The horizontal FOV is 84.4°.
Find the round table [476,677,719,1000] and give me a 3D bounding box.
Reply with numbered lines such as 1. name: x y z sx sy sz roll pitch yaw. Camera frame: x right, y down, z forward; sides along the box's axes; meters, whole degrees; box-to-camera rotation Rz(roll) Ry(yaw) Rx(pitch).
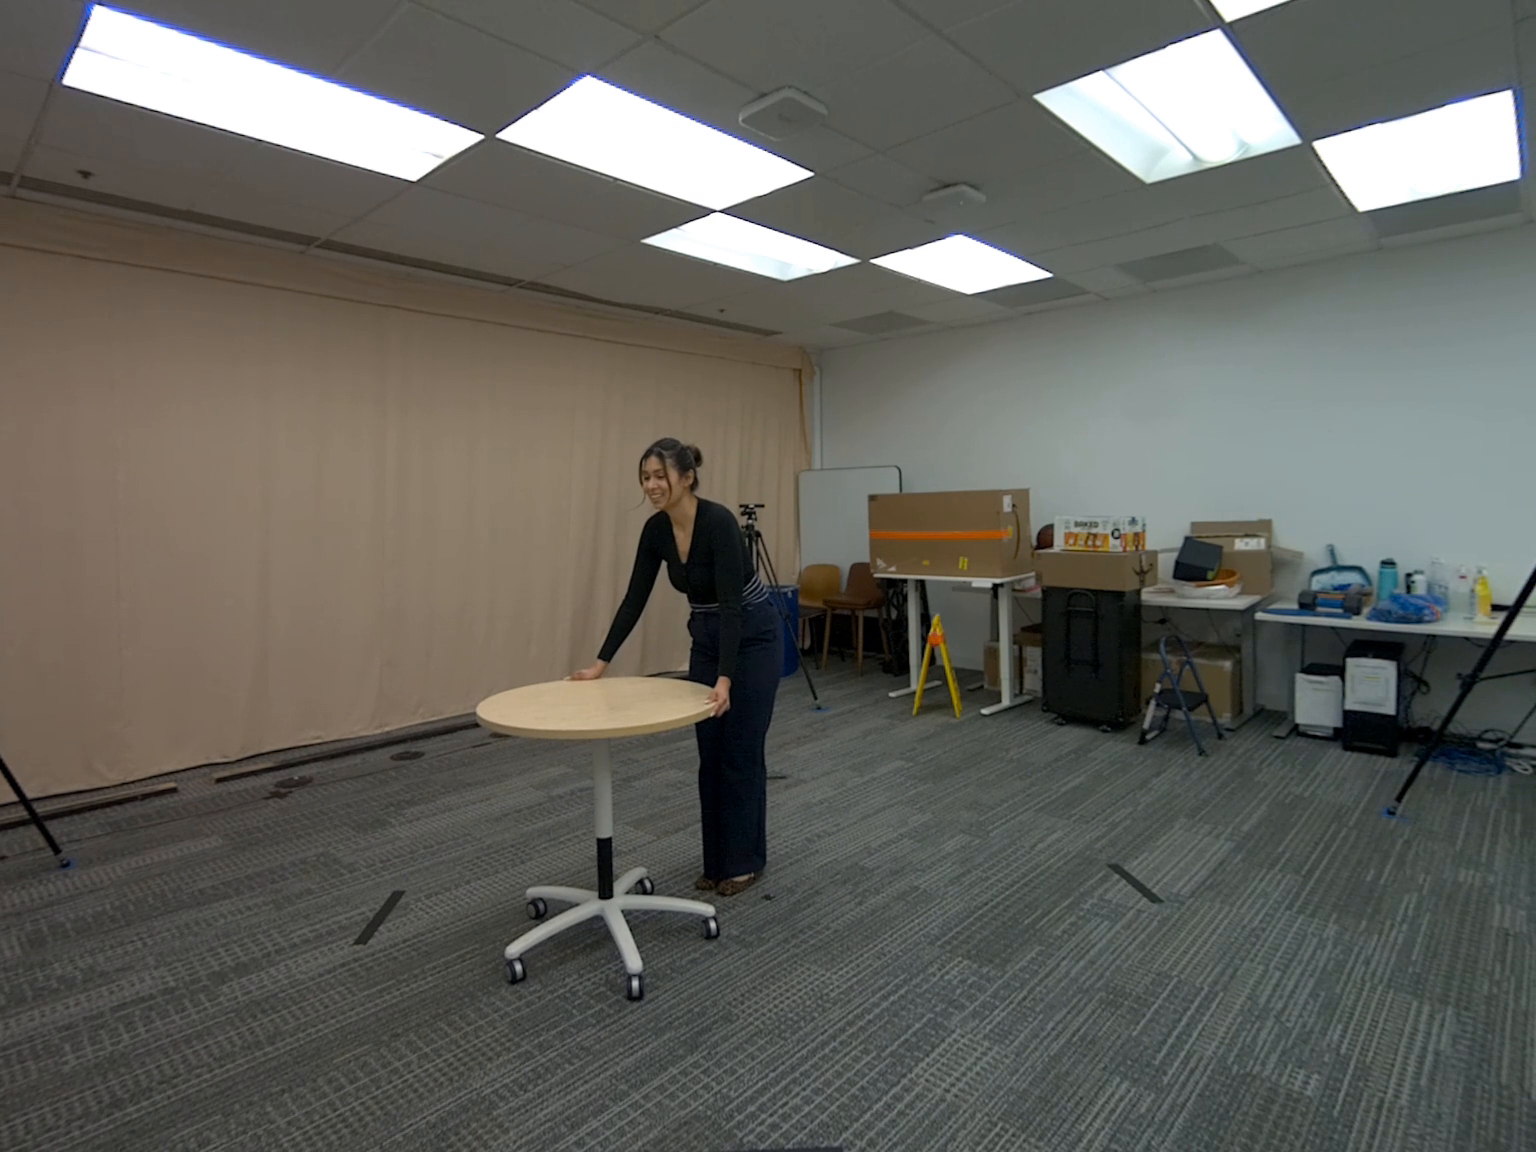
1. round table: -0.519 0.787 2.695 0.763 0.792 0.766 -2 3 -2
